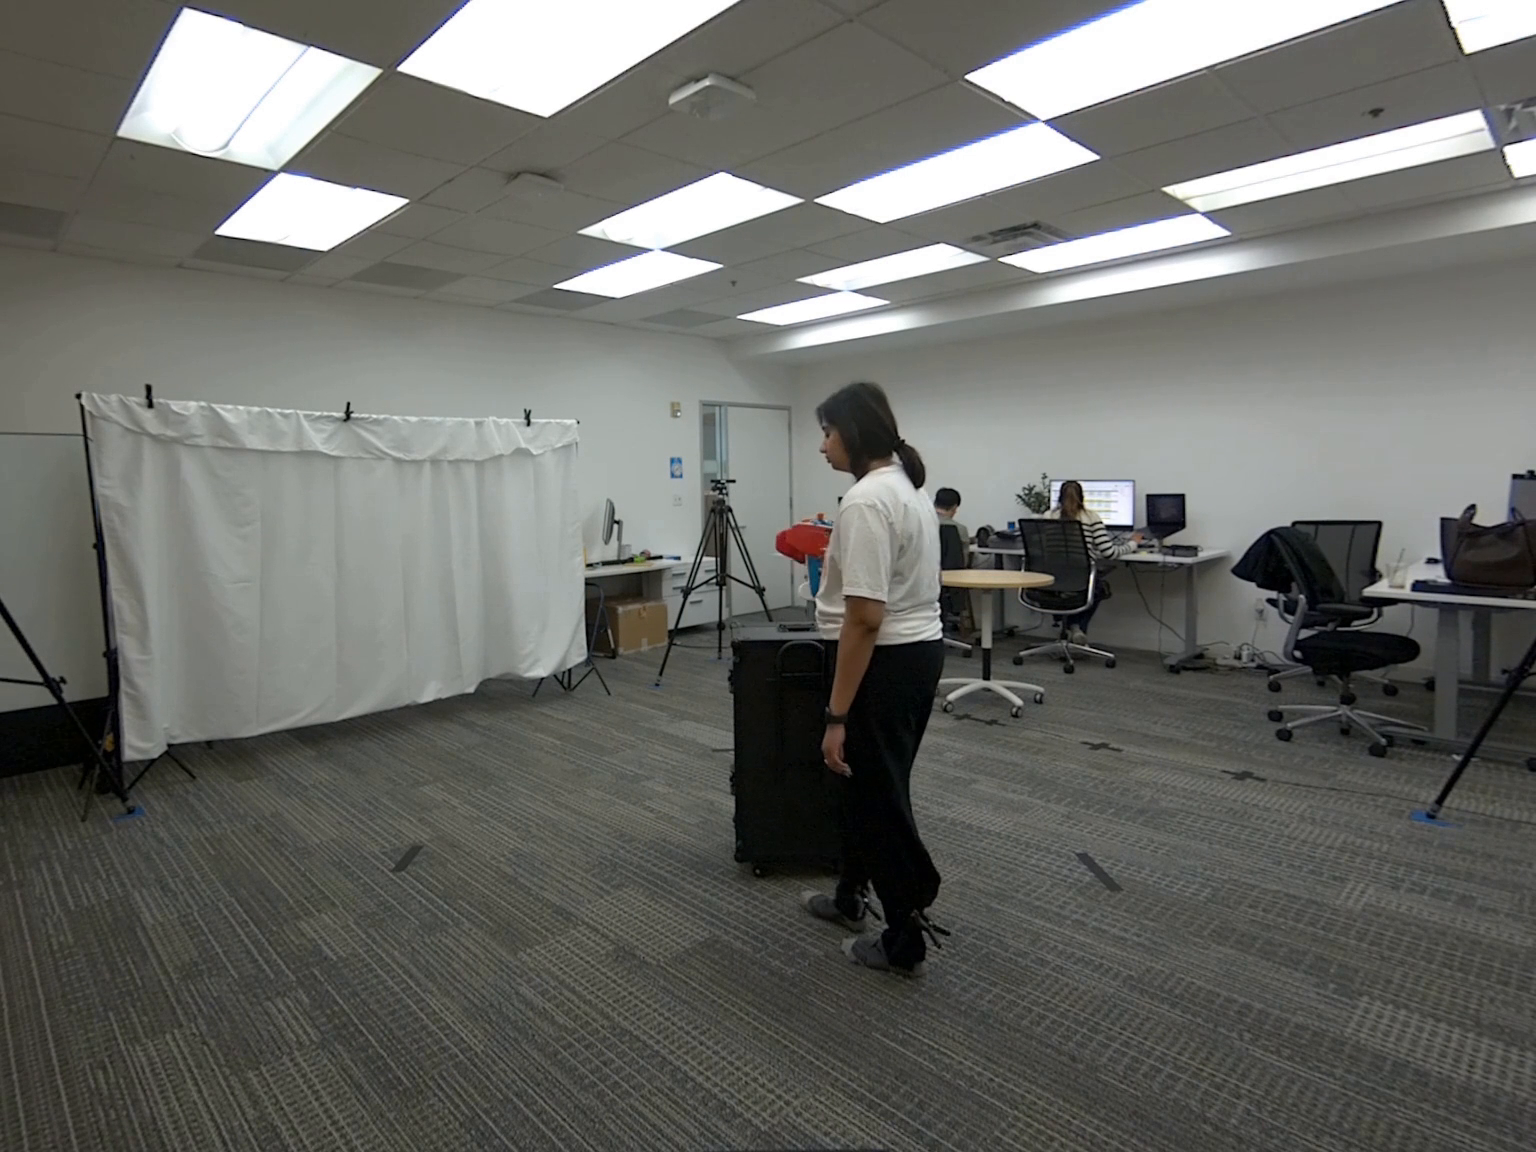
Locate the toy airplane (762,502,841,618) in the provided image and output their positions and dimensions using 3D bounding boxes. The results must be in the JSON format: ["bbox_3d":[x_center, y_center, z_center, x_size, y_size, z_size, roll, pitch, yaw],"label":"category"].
[{"bbox_3d":[0.173,-0.057,2.595,0.247,0.264,0.156,-19,-16,-31],"label":"toy airplane"}]
